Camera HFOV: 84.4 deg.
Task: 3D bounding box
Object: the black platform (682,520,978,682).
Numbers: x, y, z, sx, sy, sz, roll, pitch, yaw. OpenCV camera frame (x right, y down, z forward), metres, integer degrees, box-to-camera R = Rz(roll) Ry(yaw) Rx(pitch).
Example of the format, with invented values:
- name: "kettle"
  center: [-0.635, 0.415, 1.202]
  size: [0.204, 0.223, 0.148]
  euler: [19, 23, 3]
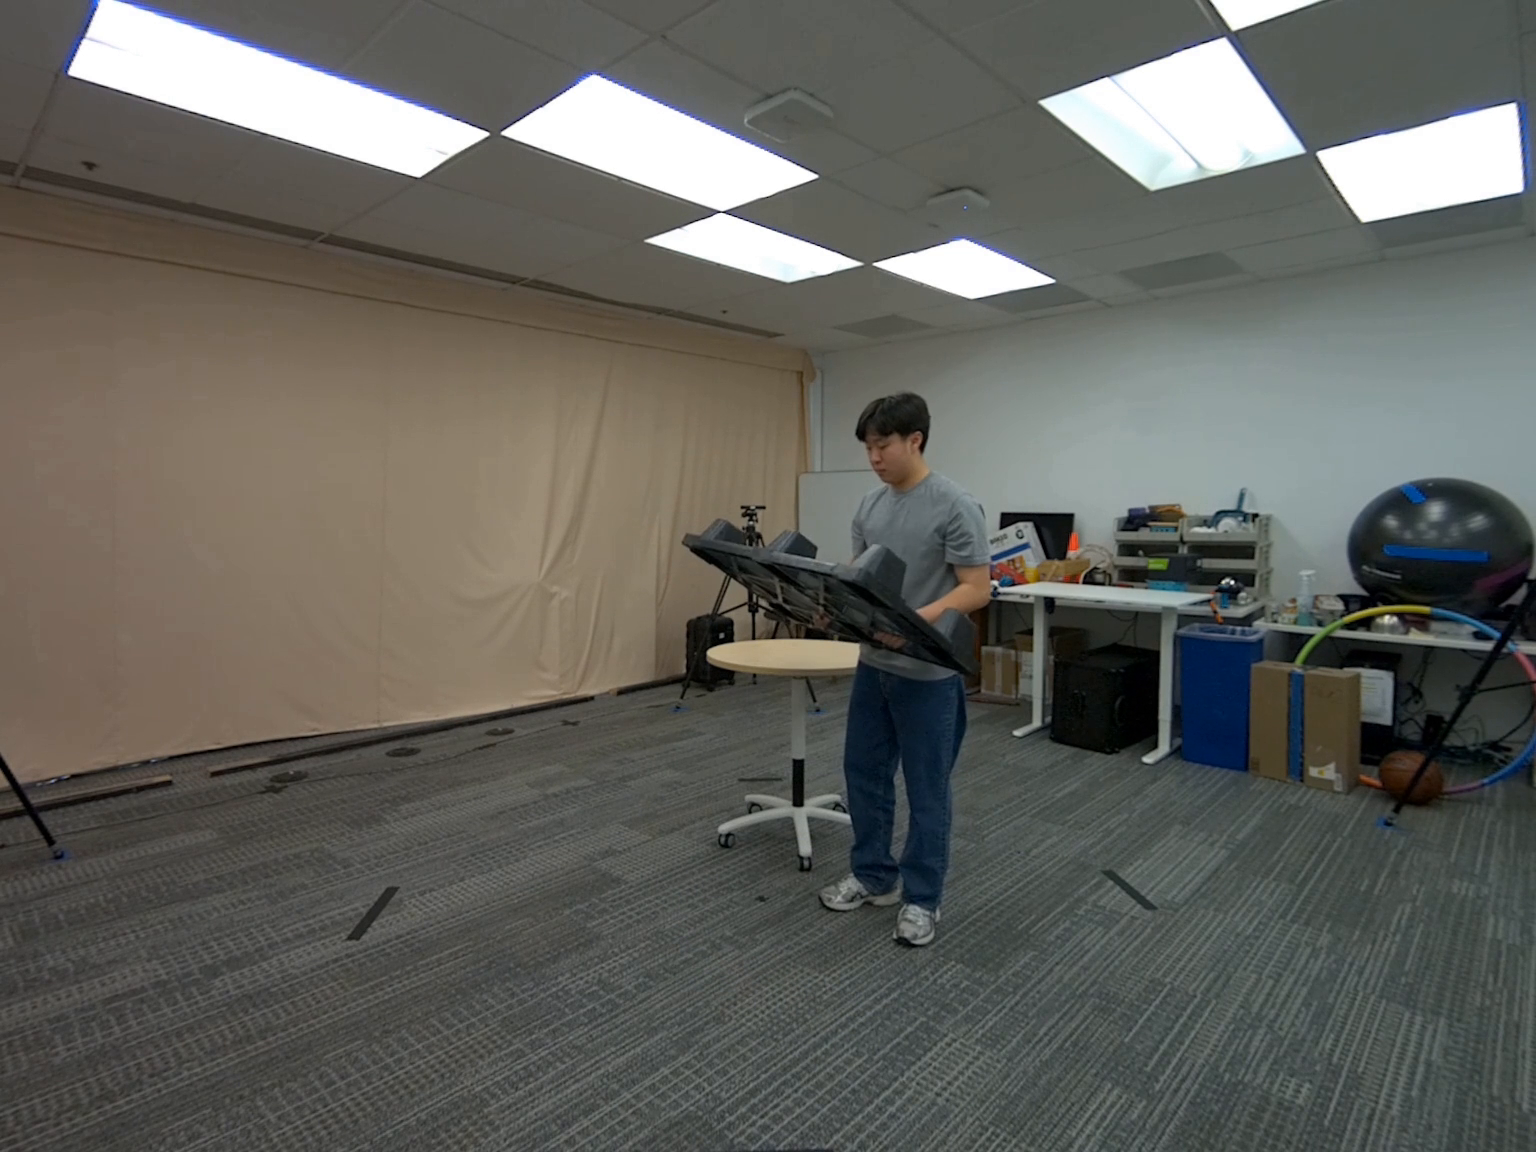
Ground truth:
- name: "black platform"
  center: [0.188, 0.048, 2.552]
  size: [0.584, 0.143, 0.833]
  euler: [37, -14, -36]
